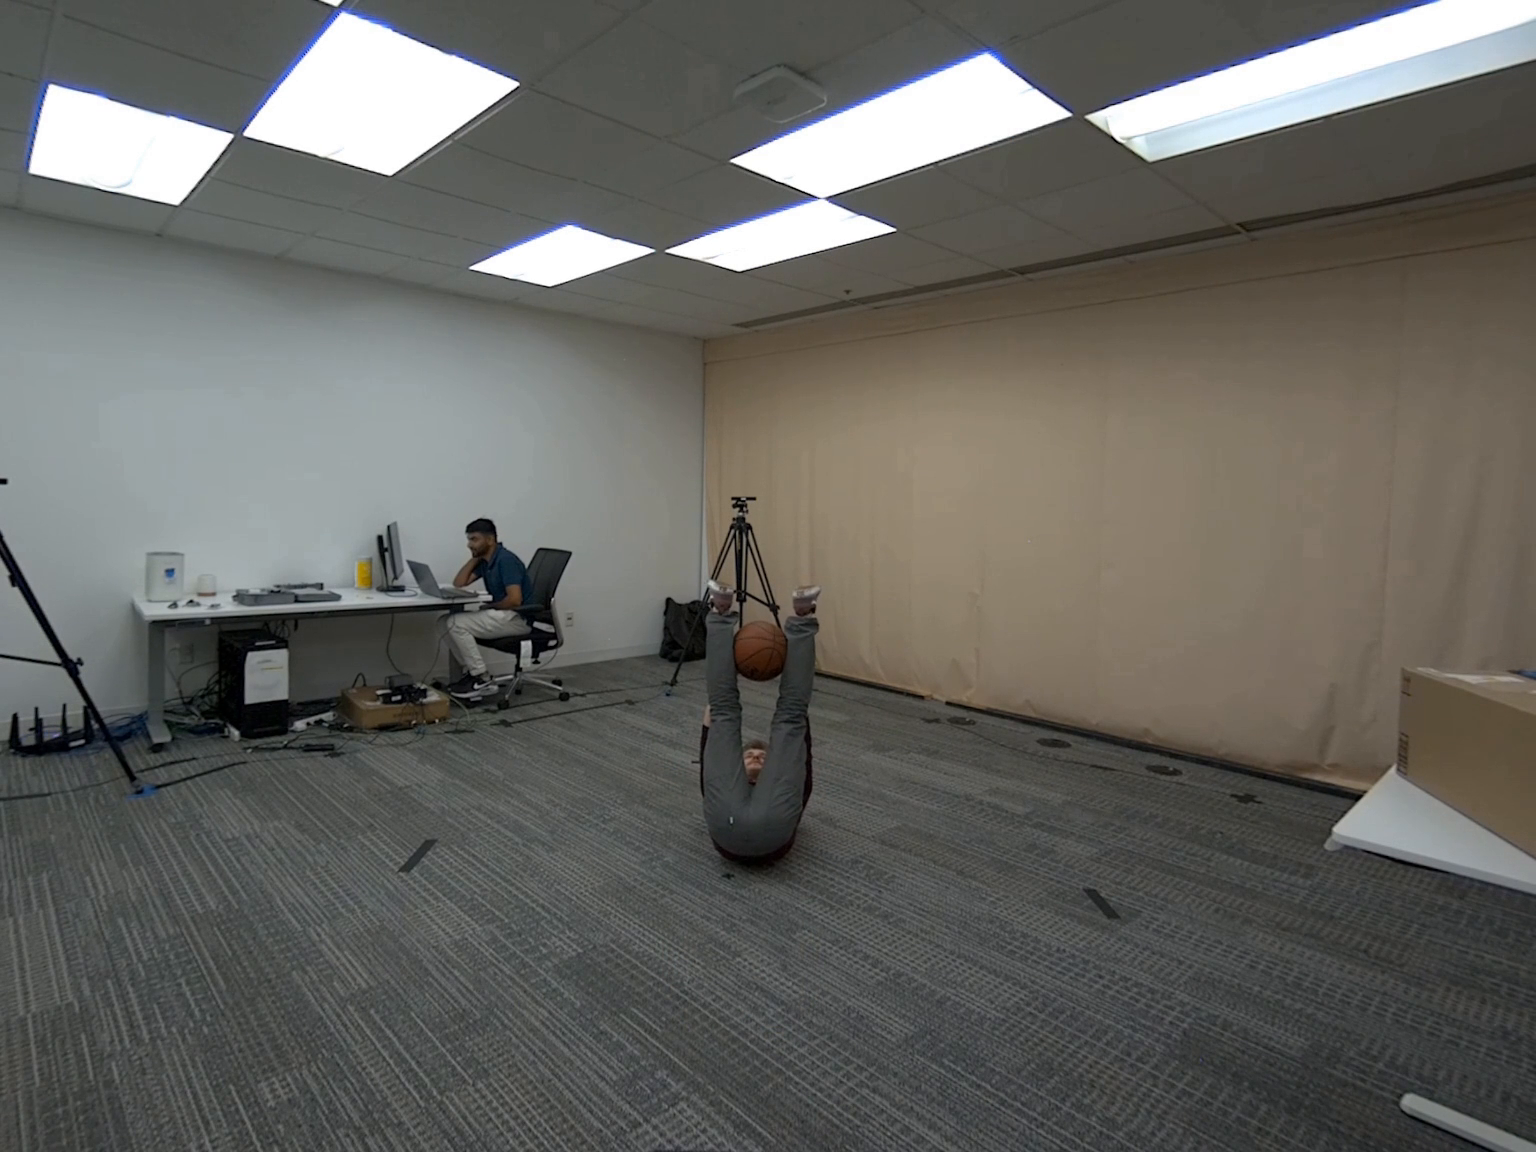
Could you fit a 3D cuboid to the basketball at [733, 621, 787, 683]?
[{"bbox_3d":[-0.044,0.296,3.339,0.236,0.235,0.237,1,4,-1],"label":"basketball"}]
